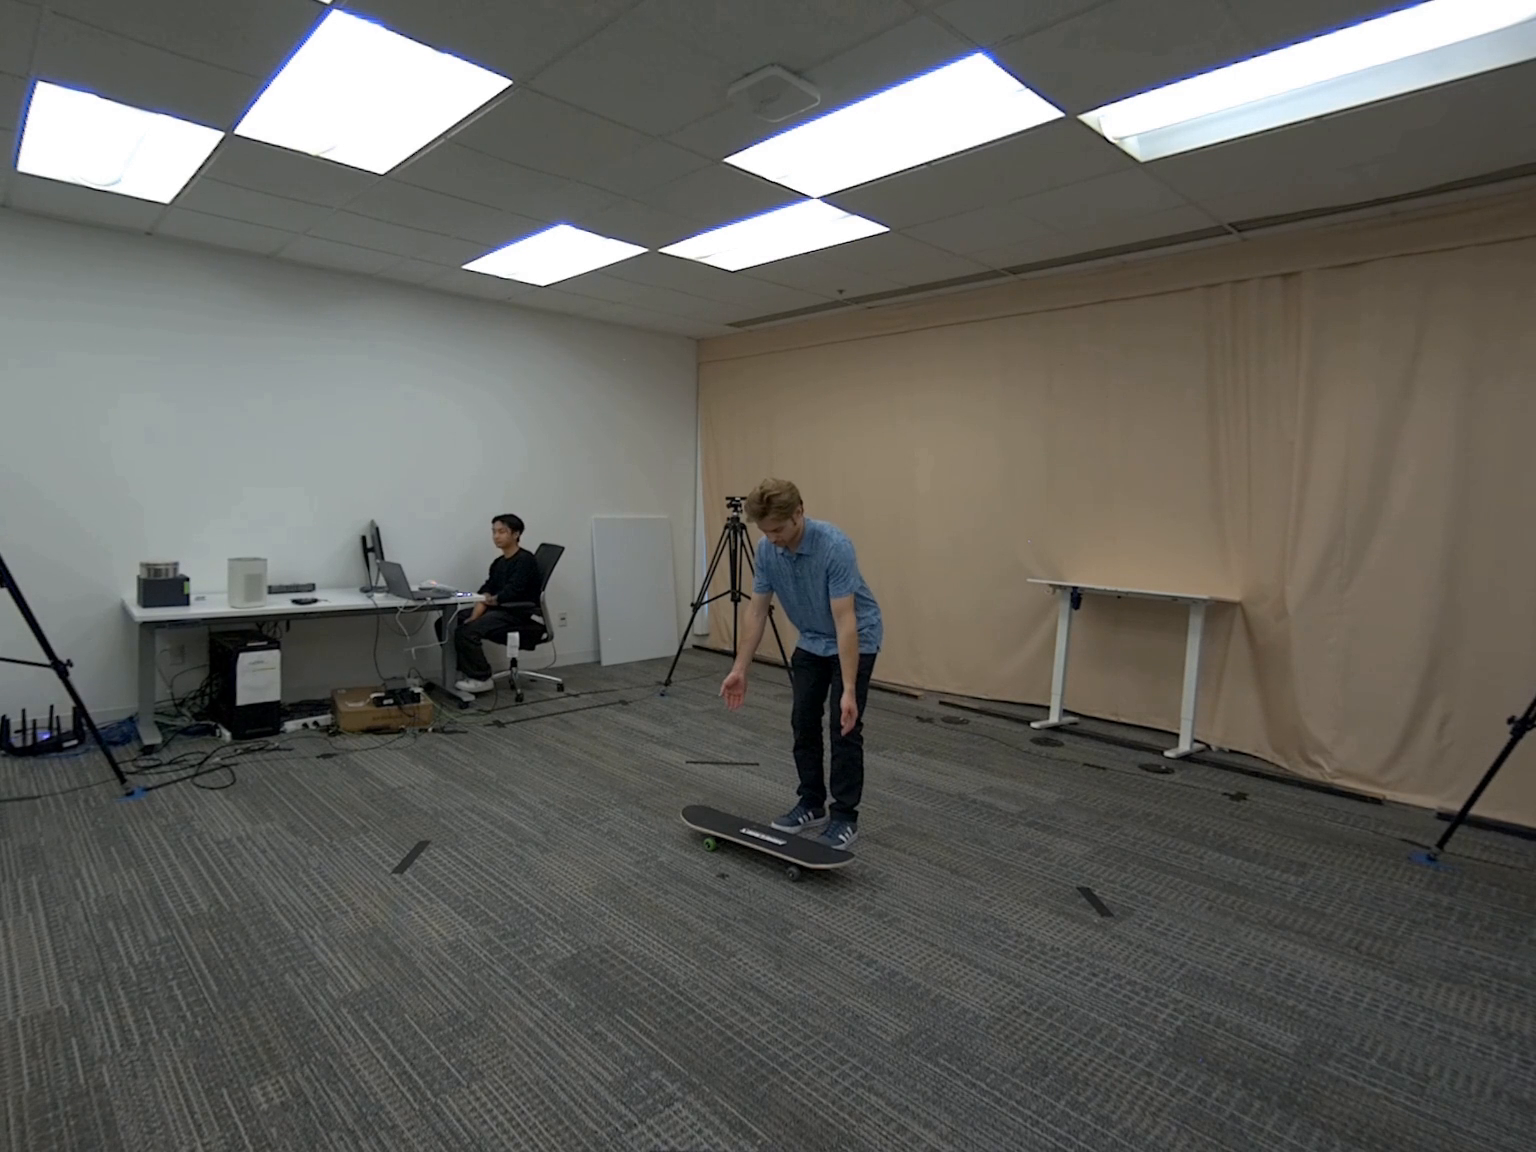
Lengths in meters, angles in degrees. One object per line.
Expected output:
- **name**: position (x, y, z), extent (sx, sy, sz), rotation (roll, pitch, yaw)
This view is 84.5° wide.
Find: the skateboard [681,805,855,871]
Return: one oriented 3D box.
- **skateboard**: position (-0.031, 1.040, 3.261), extent (0.805, 0.110, 0.189), rotation (5, 6, 37)
